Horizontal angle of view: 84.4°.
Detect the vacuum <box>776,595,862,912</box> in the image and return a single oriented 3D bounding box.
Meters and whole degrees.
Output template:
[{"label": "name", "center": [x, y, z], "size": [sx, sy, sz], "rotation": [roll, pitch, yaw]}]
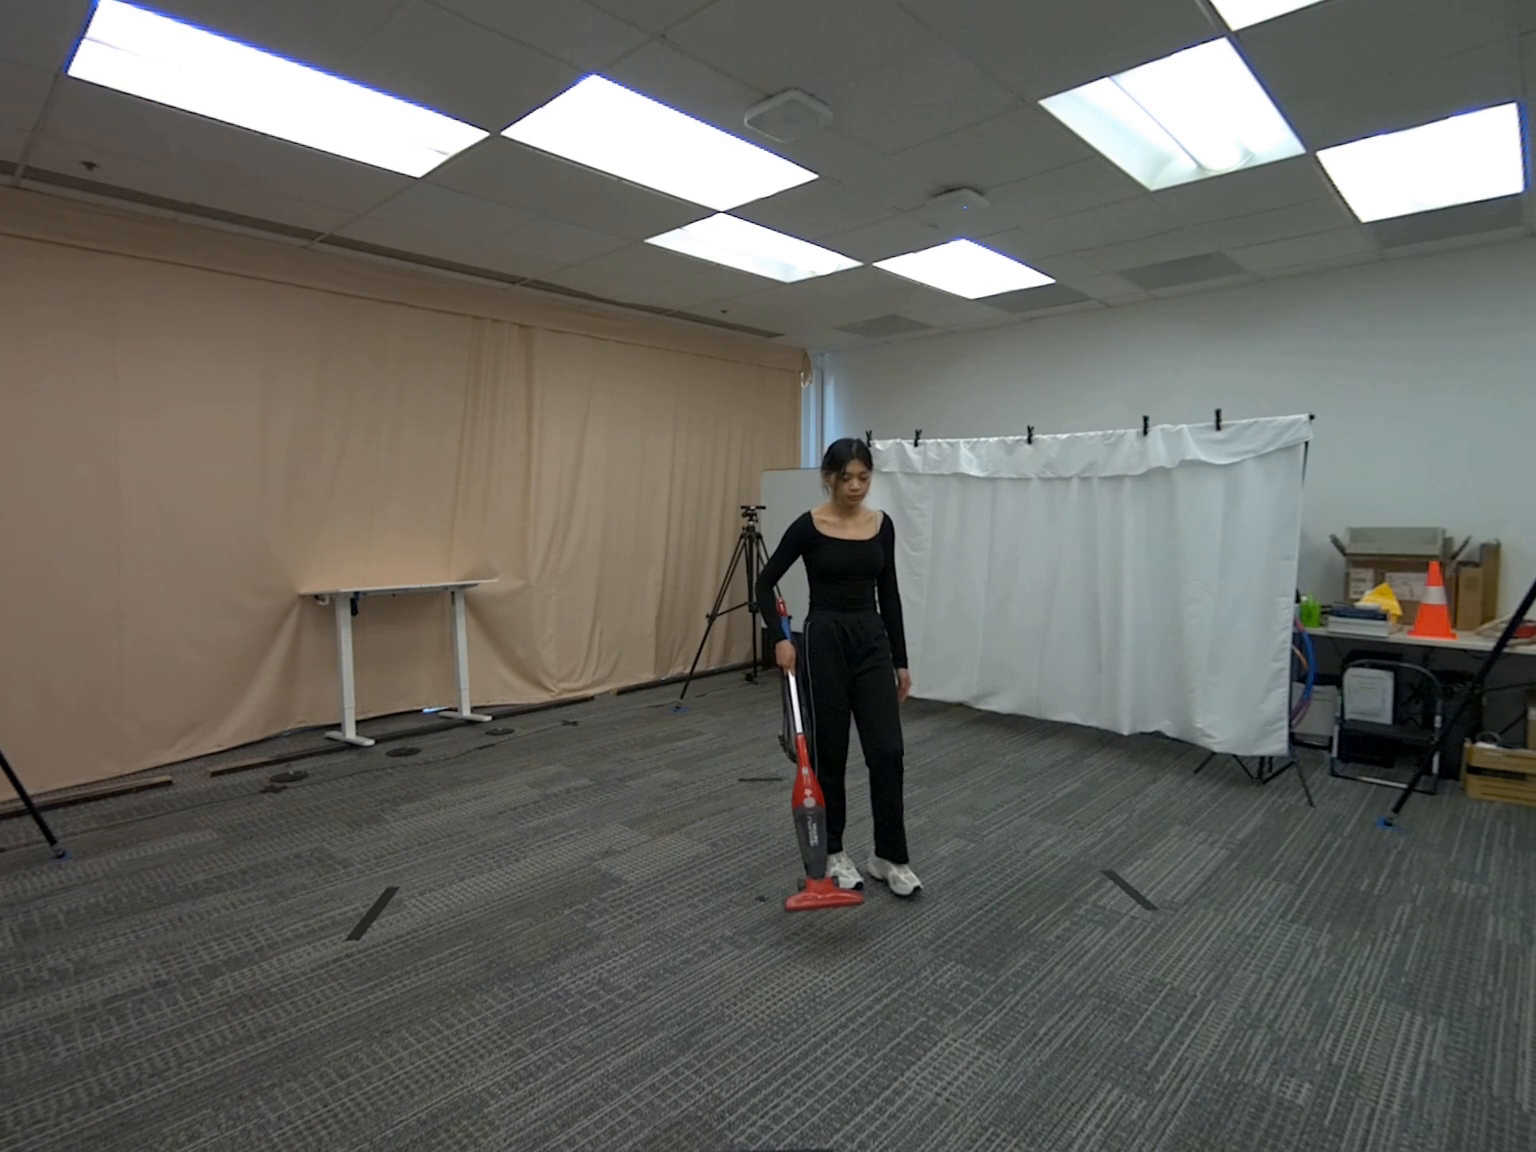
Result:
[{"label": "vacuum", "center": [0.114, 0.571, 2.925], "size": [0.253, 1.068, 0.141], "rotation": [-6, -28, 0]}]
